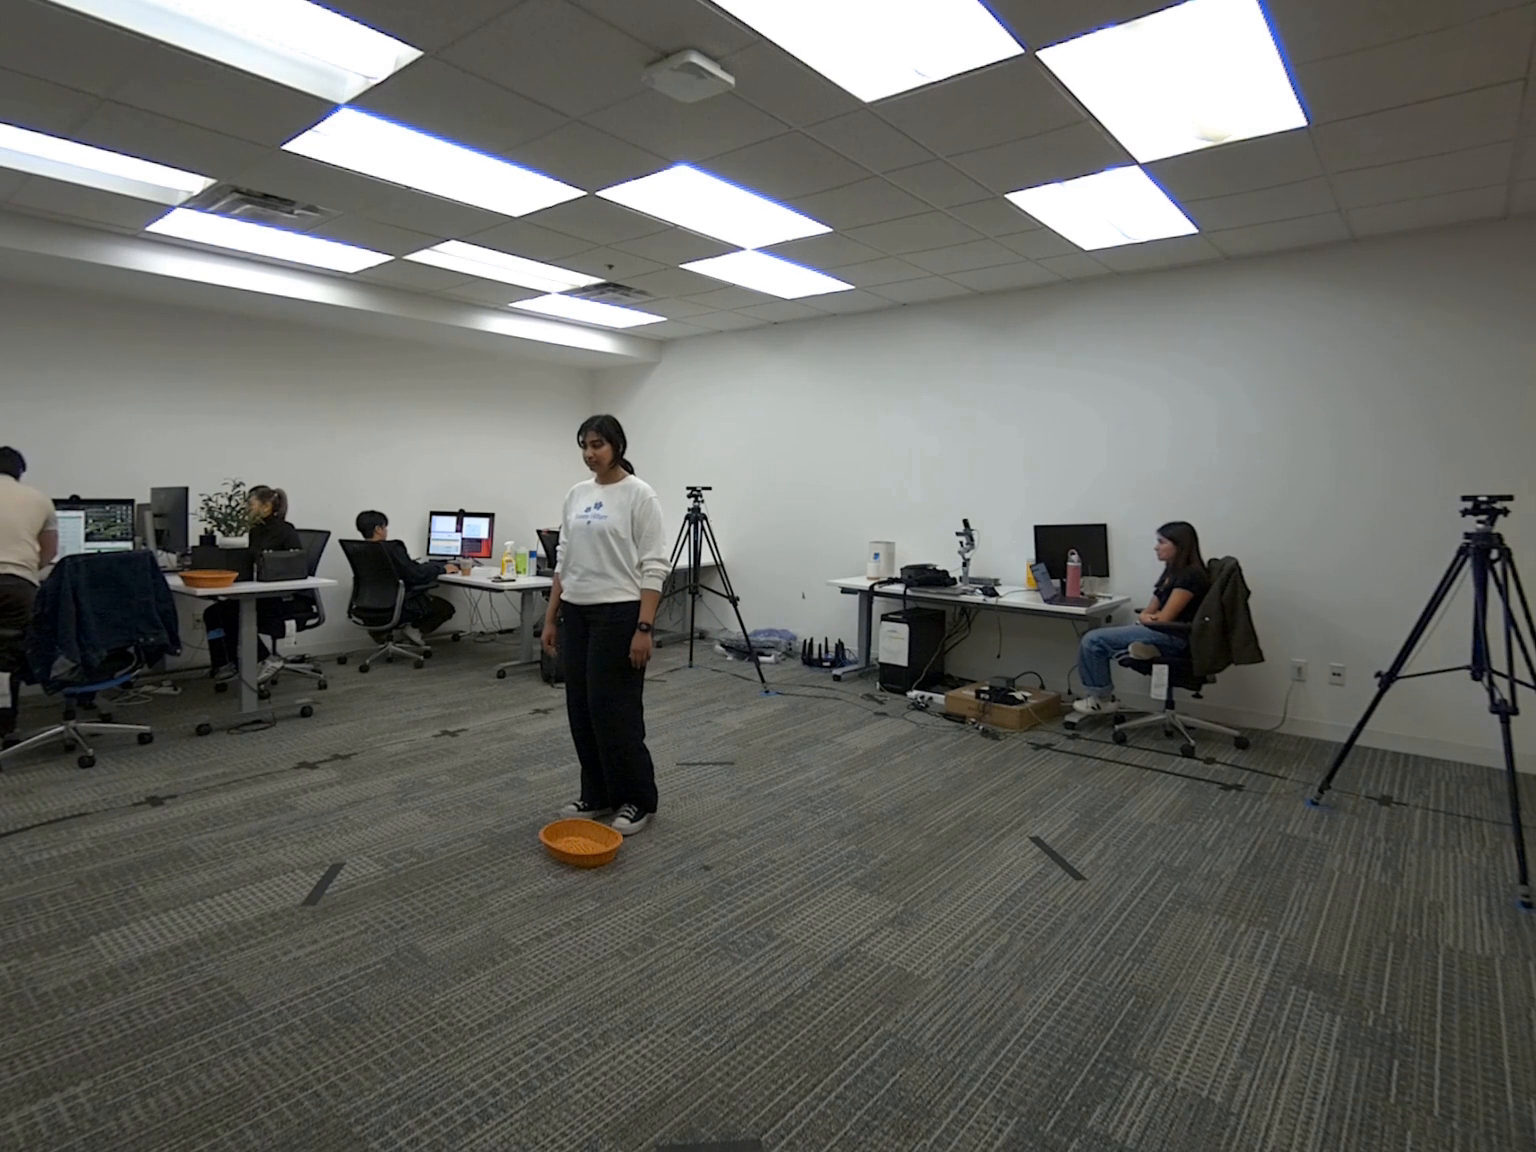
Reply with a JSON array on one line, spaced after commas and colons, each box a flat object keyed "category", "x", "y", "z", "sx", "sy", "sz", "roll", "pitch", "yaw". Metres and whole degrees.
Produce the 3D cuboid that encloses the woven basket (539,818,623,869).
[{"category": "woven basket", "x": -0.713, "y": 1.007, "z": 3.215, "sx": 0.362, "sy": 0.073, "sz": 0.245, "roll": 6, "pitch": 9, "yaw": 39}]
